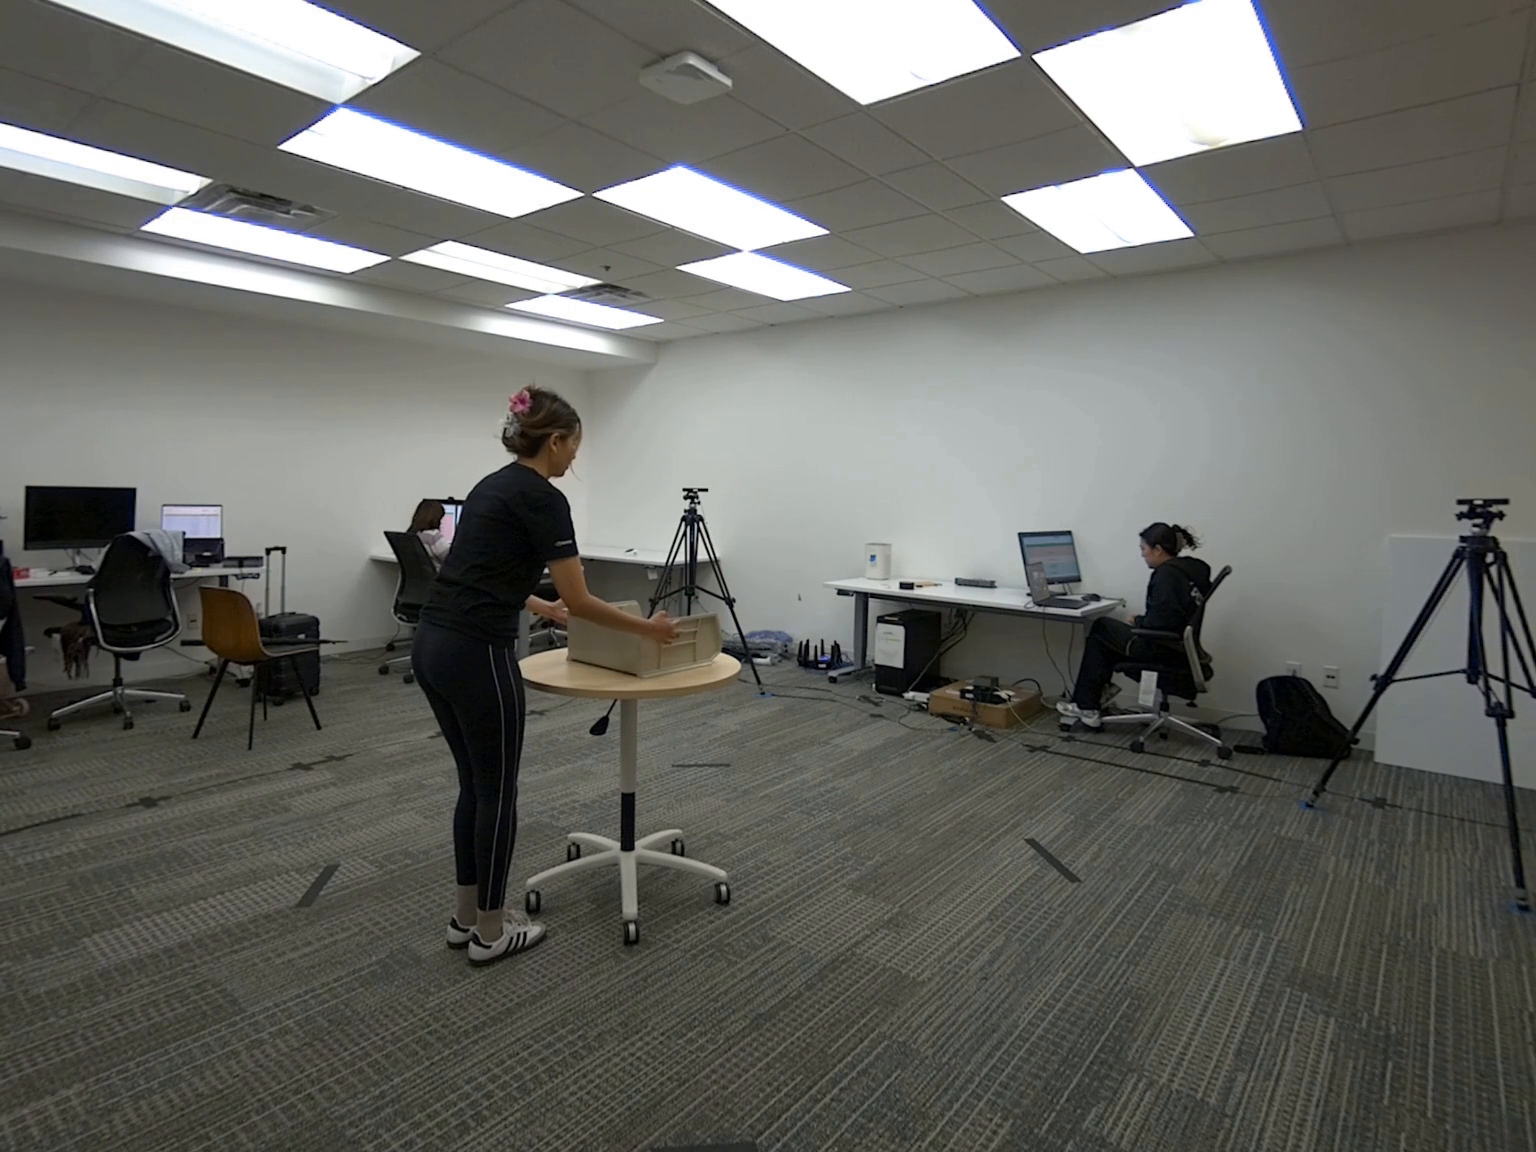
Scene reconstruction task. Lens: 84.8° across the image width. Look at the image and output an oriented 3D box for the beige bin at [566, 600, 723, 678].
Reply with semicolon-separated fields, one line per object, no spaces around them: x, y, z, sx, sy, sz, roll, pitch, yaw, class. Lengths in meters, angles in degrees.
-0.447;0.206;2.949;0.437;0.188;0.366;6;9;41;beige bin
